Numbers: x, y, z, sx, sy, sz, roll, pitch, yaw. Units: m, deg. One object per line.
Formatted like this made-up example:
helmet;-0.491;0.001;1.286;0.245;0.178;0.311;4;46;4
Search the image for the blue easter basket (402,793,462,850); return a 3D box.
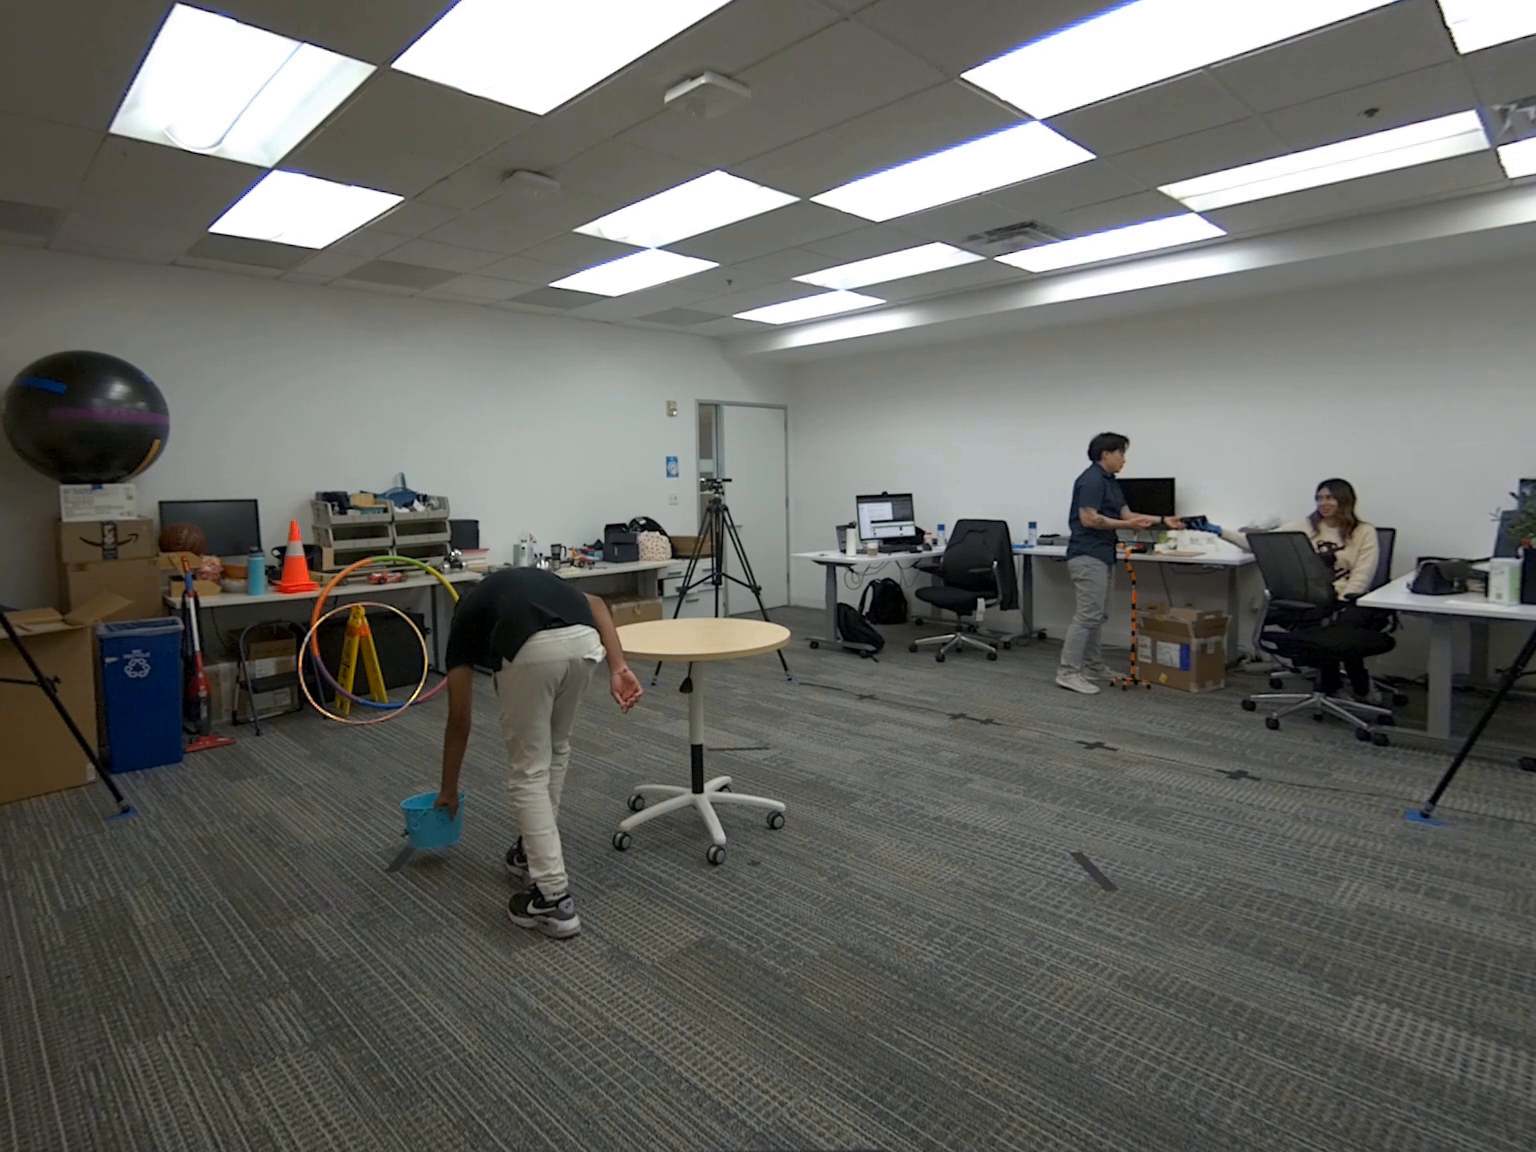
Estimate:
blue easter basket;-1.255;0.902;3.191;0.243;0.156;0.244;-2;1;-2
